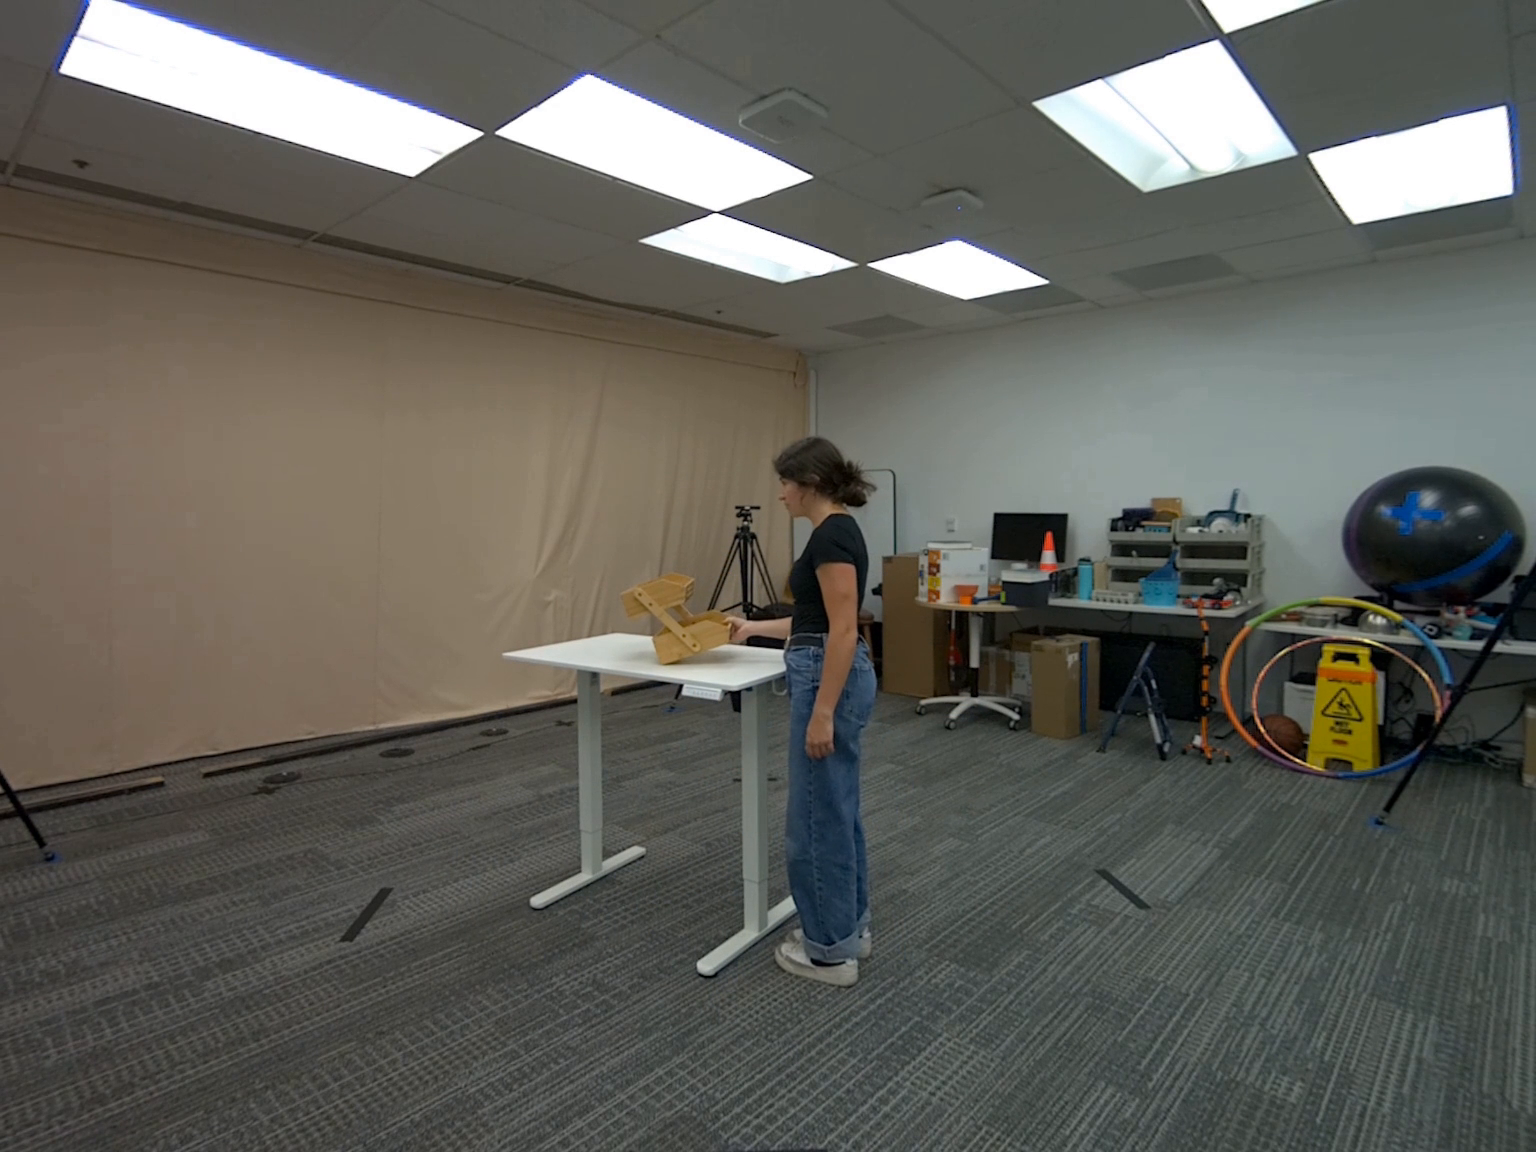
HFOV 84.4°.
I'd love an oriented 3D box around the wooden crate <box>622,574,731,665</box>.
[{"bbox_3d":[-0.296,0.124,2.835,0.303,0.273,0.323,-18,2,4],"label":"wooden crate"}]
